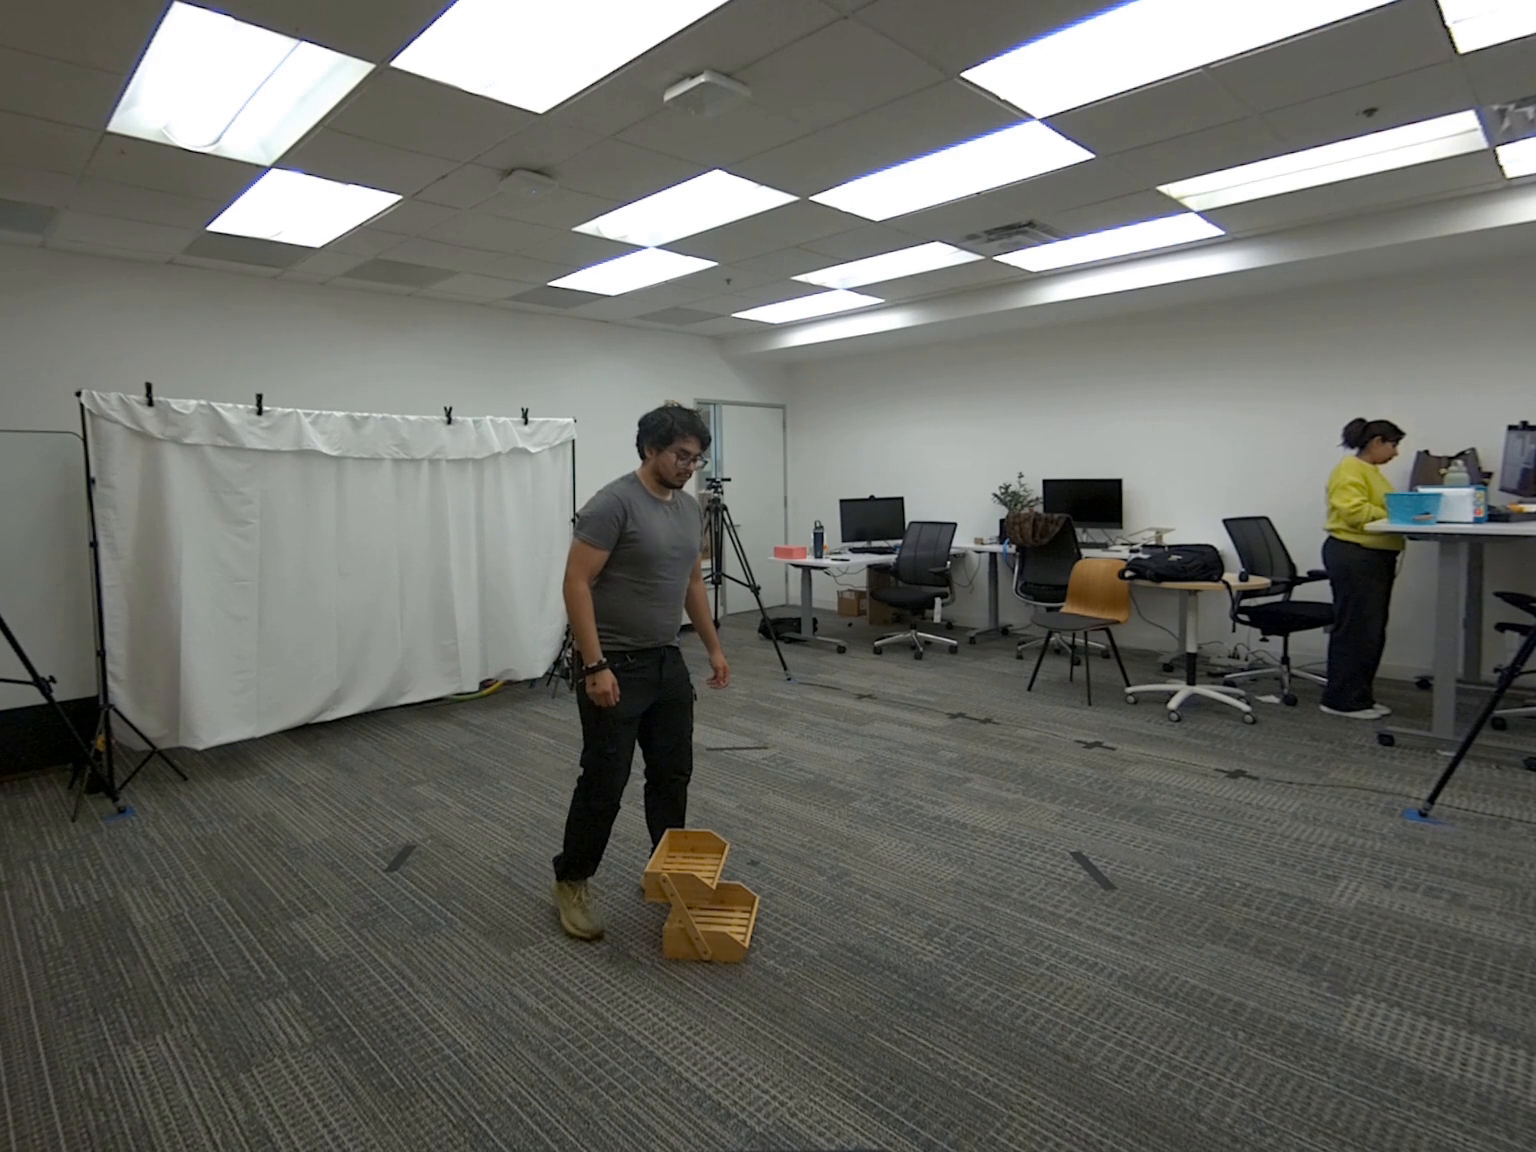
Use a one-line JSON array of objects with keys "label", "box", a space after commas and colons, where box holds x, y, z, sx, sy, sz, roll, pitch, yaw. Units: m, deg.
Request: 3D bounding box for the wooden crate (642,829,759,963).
[{"label": "wooden crate", "box": [-0.184, 0.972, 2.619, 0.304, 0.272, 0.323, 0, 5, 7]}]
